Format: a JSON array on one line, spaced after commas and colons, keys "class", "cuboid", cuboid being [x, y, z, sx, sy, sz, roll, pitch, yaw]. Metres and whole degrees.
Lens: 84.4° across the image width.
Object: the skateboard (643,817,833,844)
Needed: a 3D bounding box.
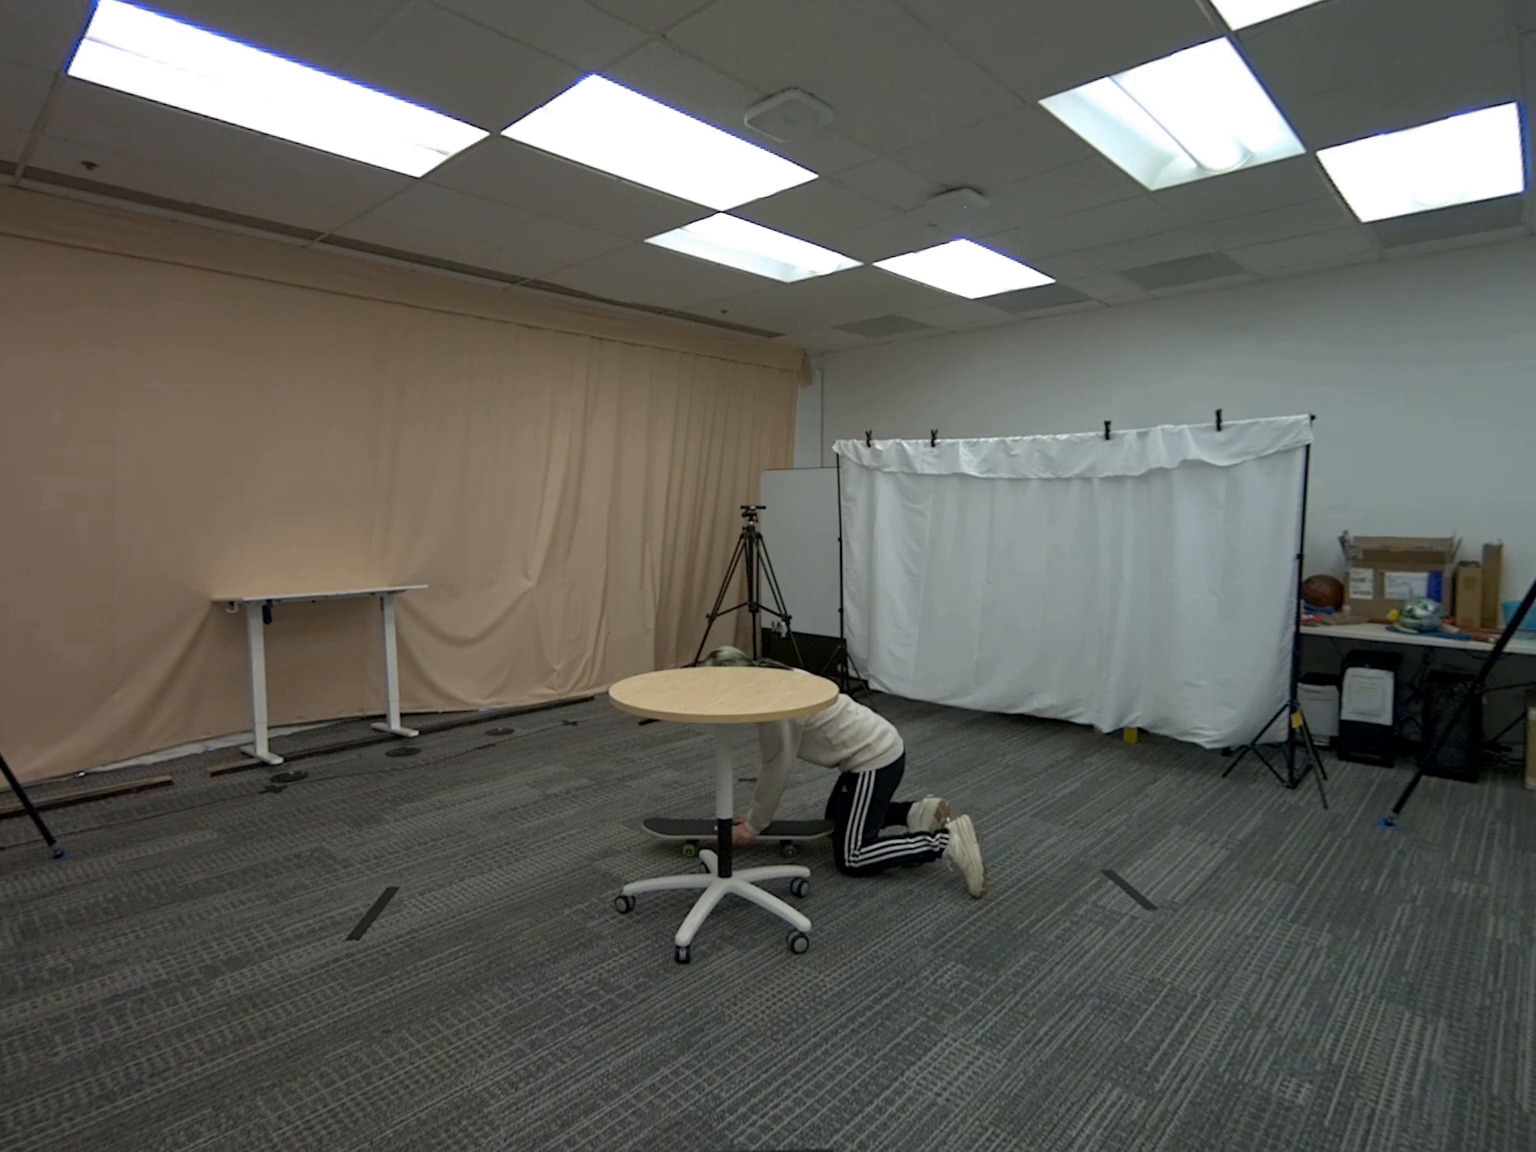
[{"class": "skateboard", "cuboid": [-0.109, 1.054, 3.408, 0.787, 0.110, 0.193, -1, 3, 2]}]
